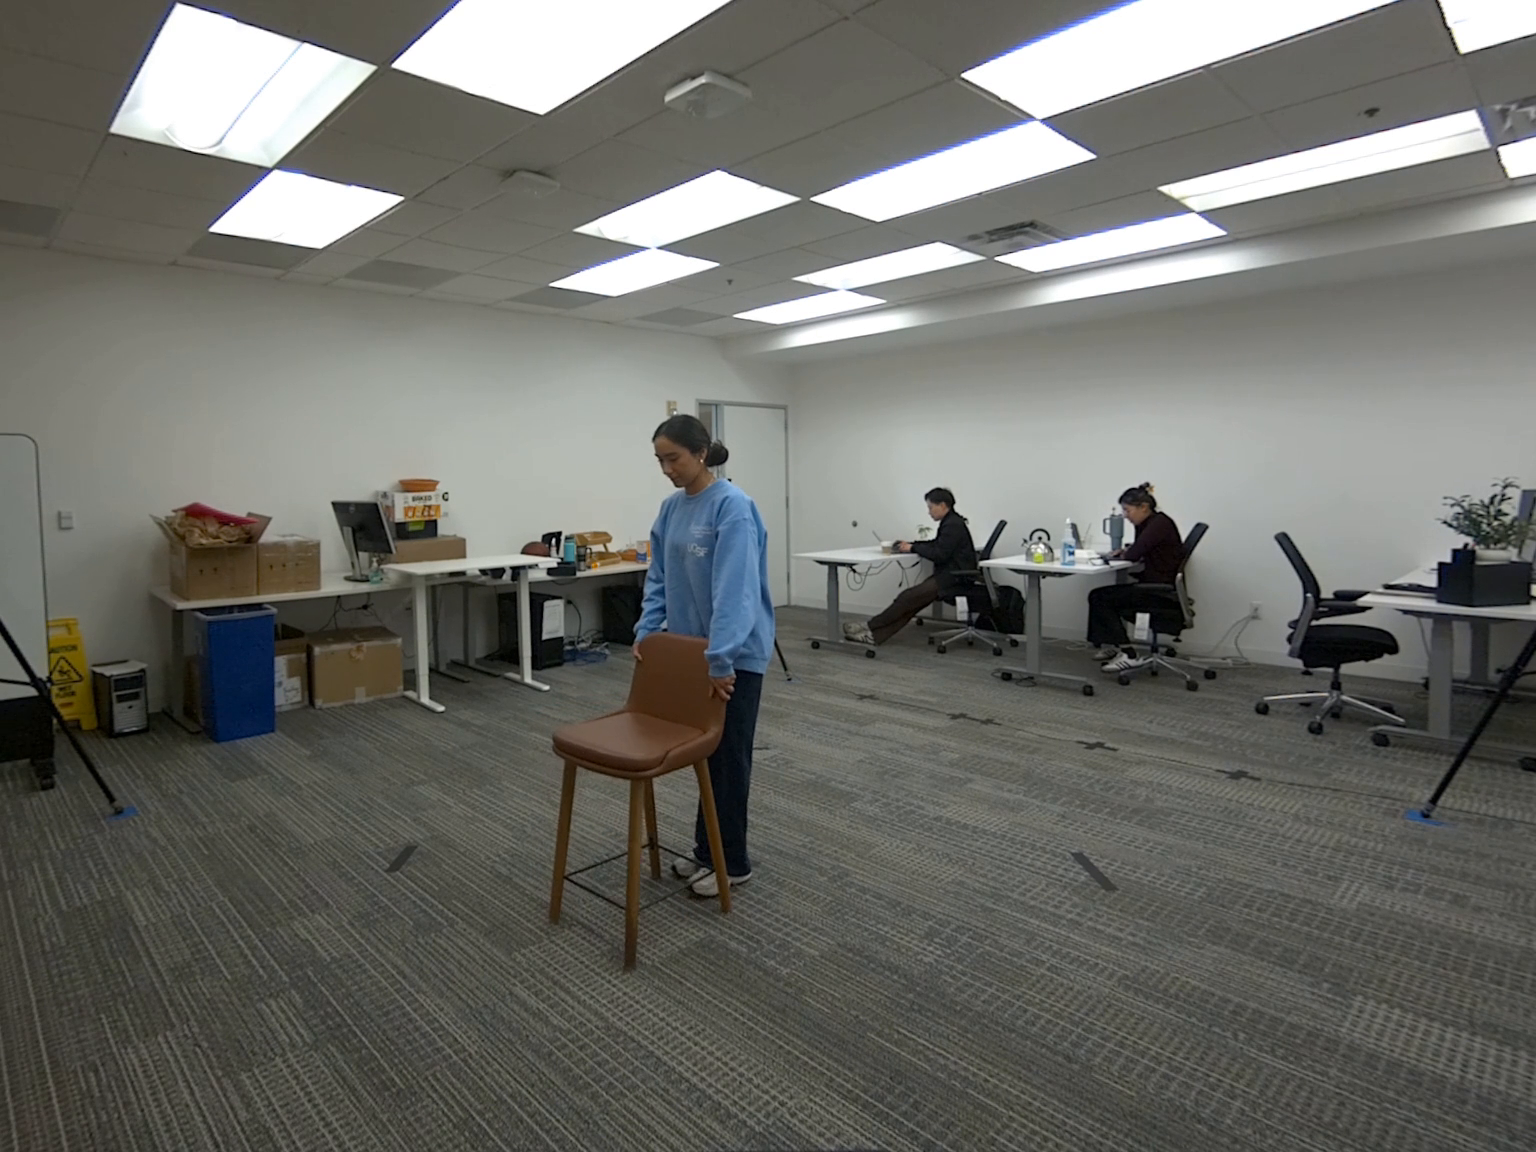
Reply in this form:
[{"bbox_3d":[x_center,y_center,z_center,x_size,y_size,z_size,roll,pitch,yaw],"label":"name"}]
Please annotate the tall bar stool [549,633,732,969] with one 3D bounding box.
[{"bbox_3d":[-0.400,0.659,2.716,0.470,0.888,0.454,3,4,43],"label":"tall bar stool"}]
